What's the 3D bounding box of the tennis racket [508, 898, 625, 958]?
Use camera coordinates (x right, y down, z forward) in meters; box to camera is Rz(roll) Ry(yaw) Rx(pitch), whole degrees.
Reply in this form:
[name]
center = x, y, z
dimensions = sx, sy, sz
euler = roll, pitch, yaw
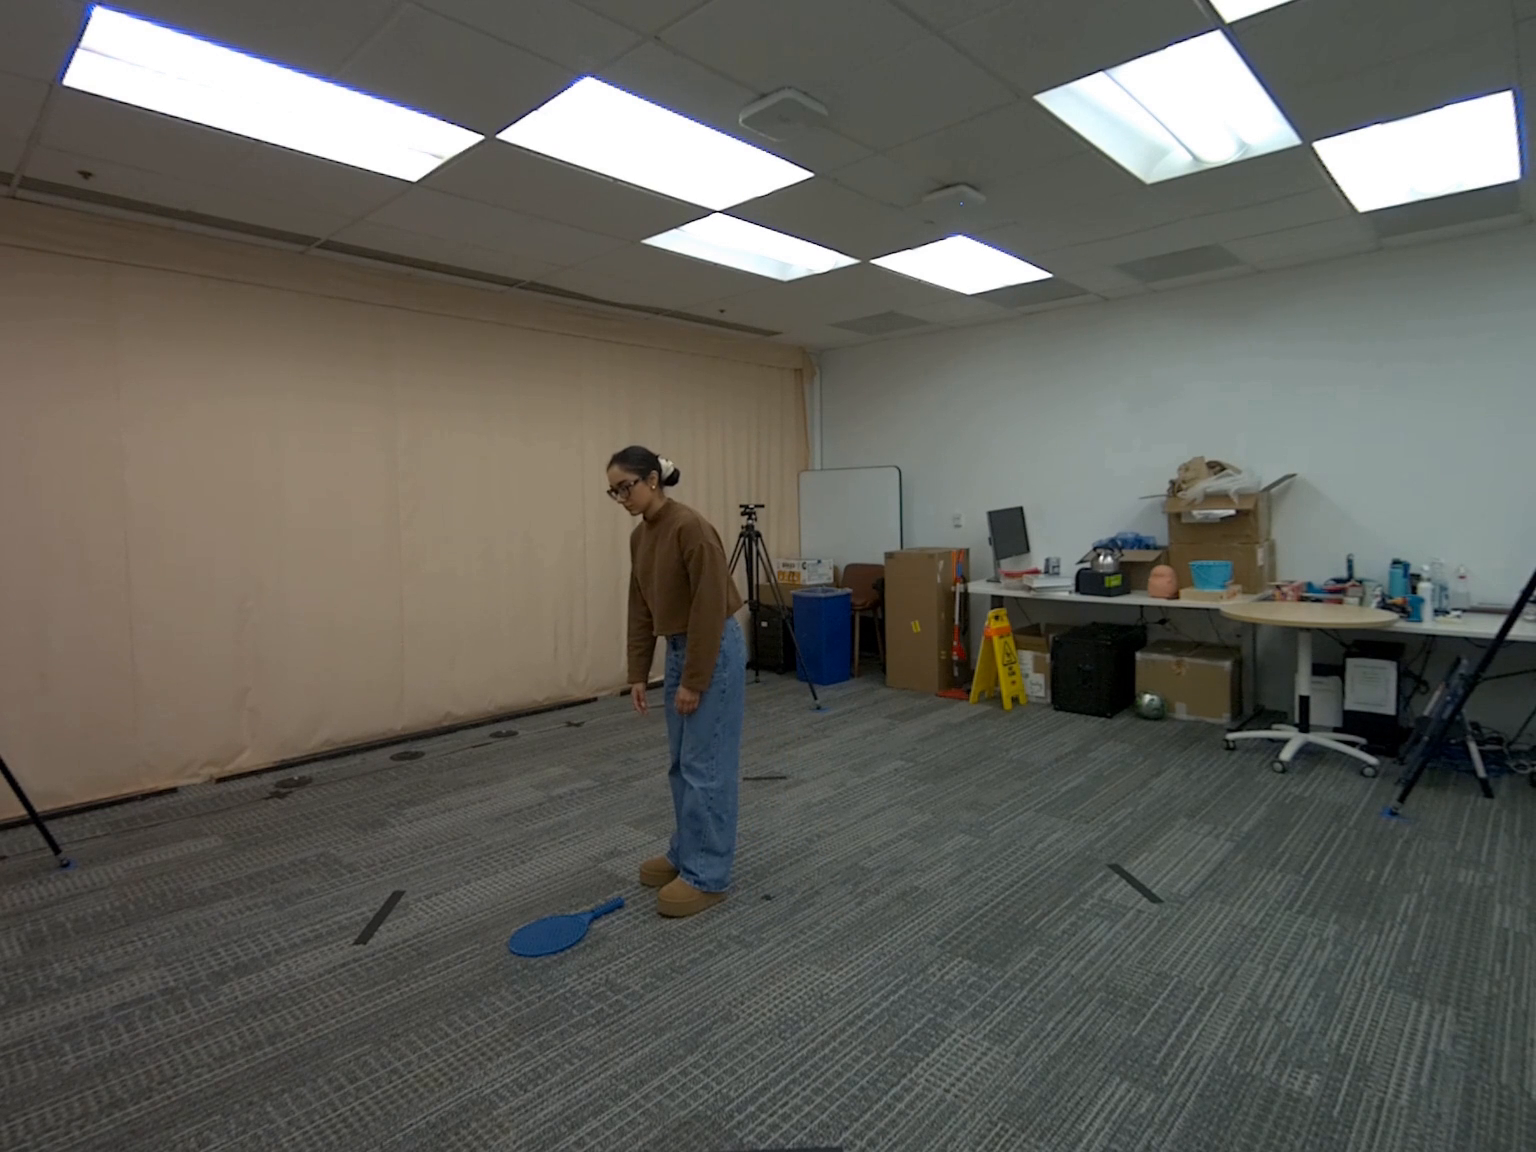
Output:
[tennis racket]
center = -0.658, 1.159, 2.791
dimensions = 0.420, 0.031, 0.221
euler = -8, 9, -44
